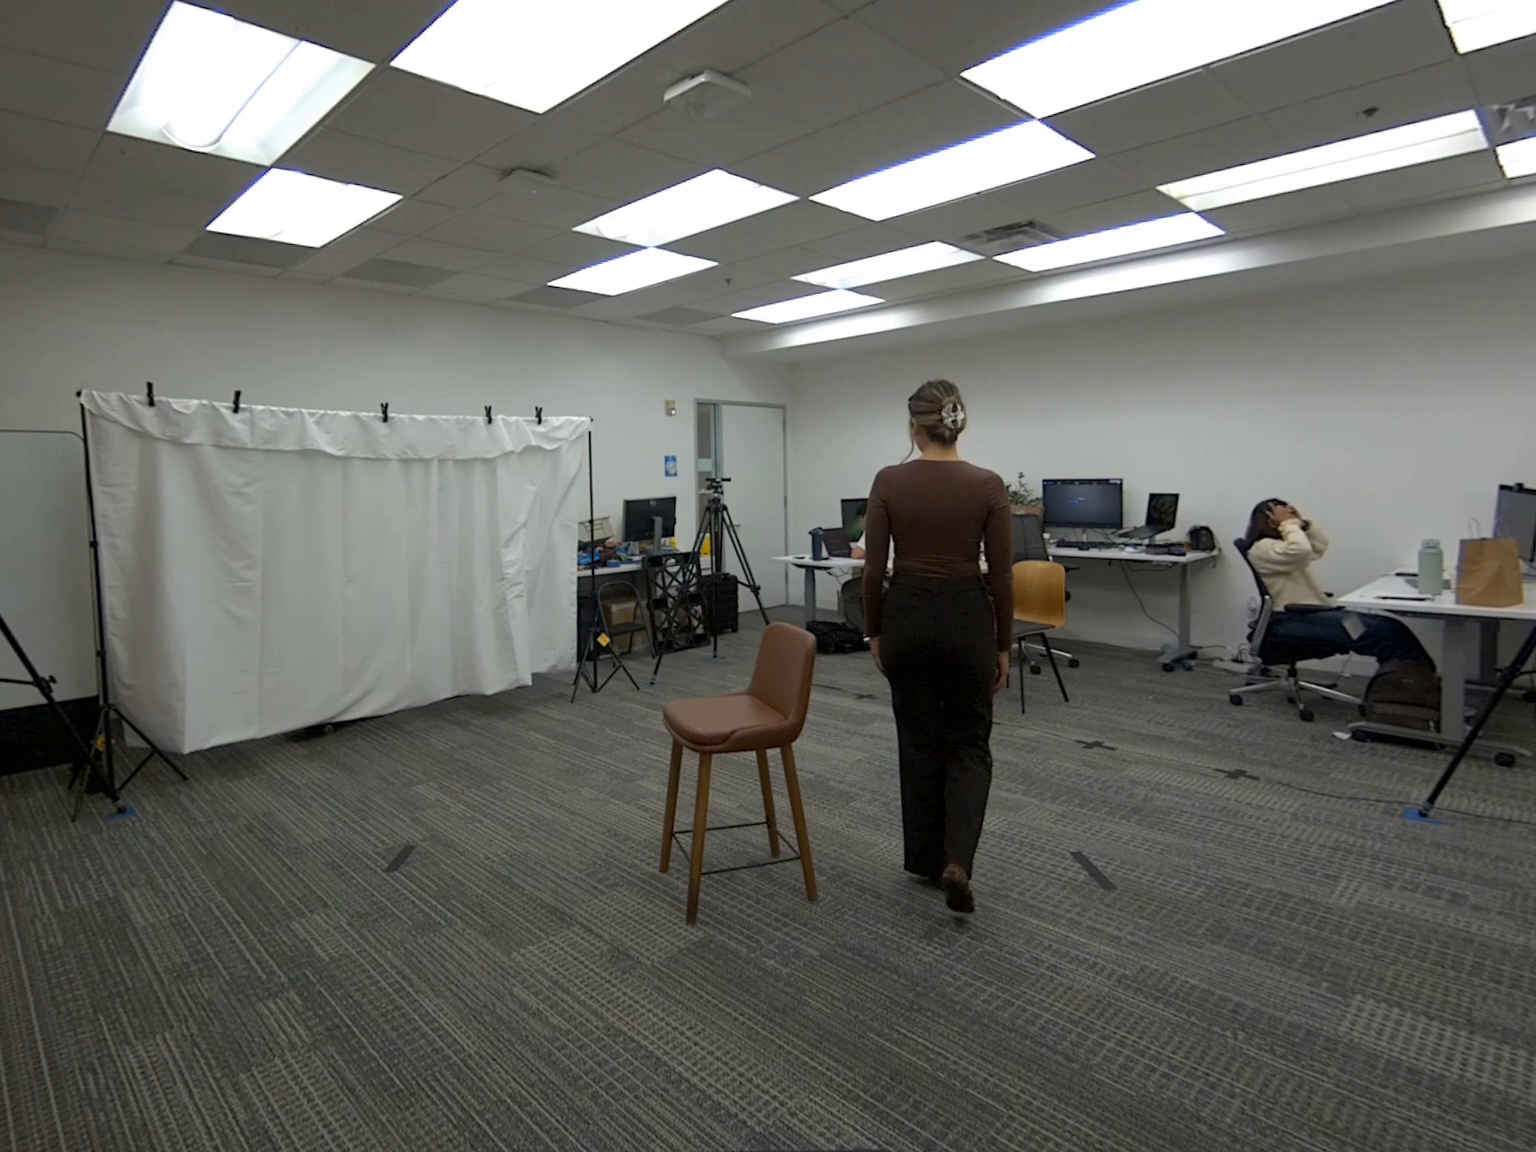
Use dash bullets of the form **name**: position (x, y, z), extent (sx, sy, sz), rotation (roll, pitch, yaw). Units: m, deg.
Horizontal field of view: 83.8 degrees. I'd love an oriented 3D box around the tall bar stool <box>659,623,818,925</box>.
- **tall bar stool**: position (-0.103, 0.629, 2.907), extent (0.459, 0.887, 0.466), rotation (0, 4, -20)
